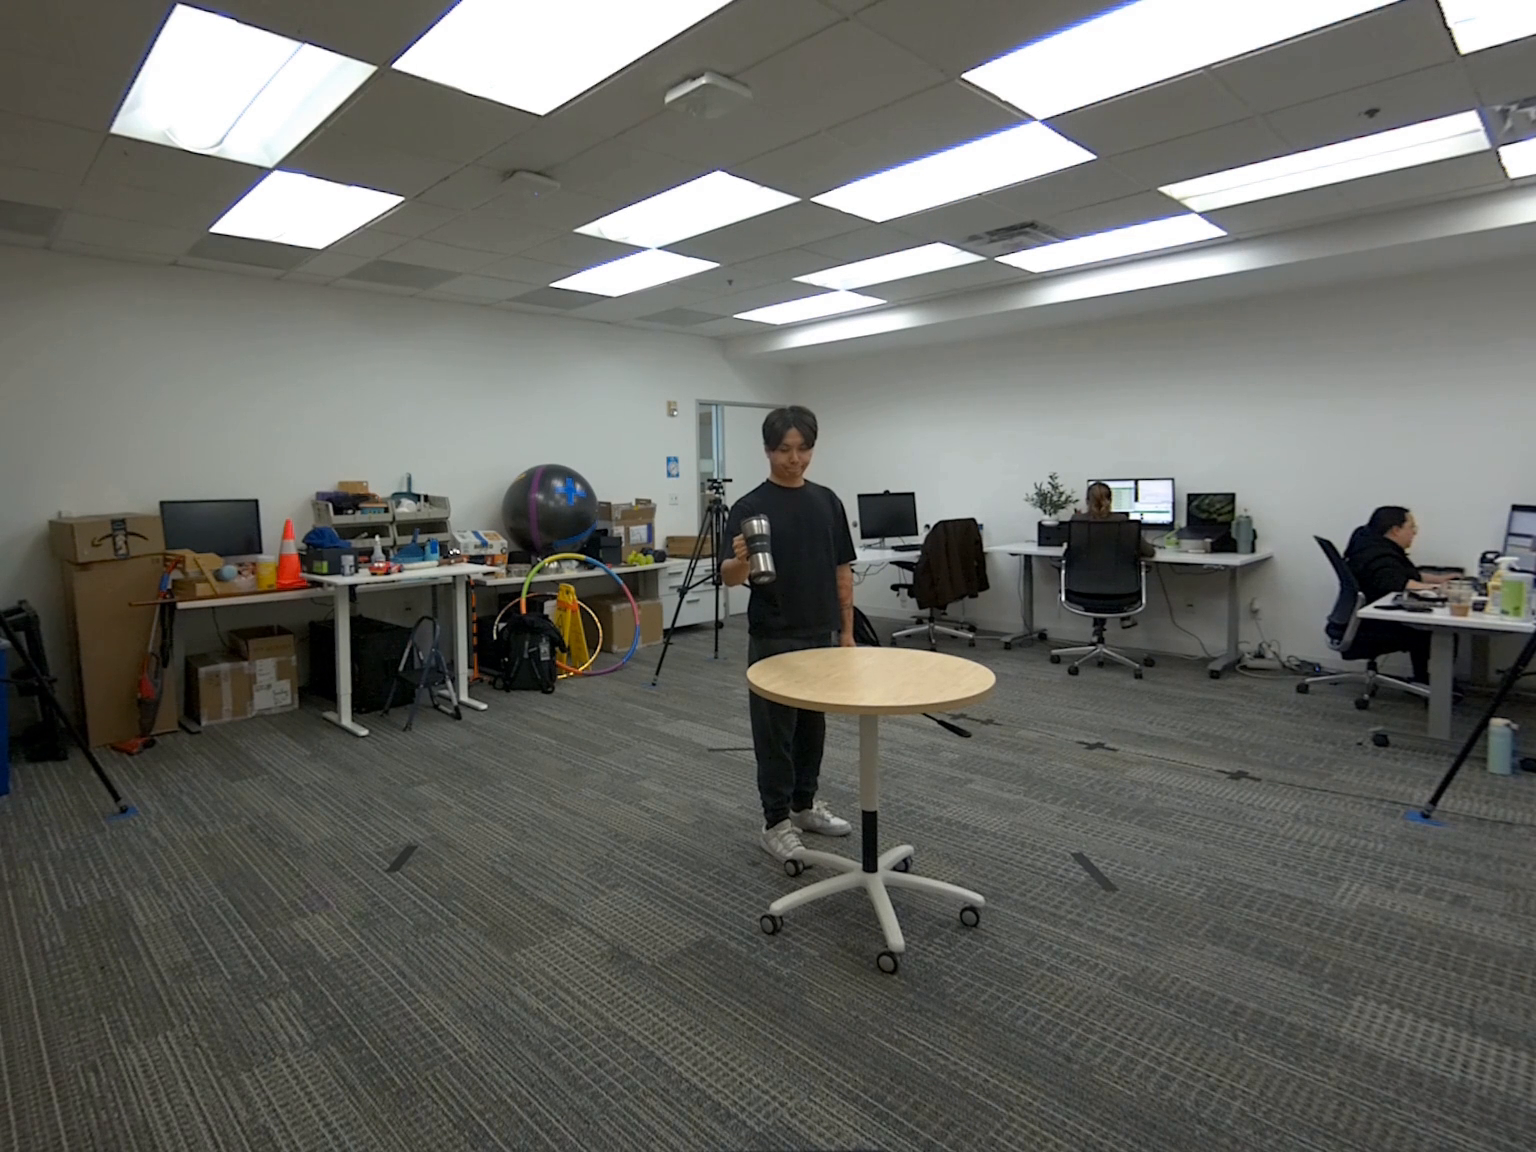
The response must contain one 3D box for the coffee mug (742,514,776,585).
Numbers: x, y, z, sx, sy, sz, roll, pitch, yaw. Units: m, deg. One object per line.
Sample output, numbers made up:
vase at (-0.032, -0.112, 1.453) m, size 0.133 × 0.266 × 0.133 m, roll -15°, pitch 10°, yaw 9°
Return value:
coffee mug at (-0.027, -0.075, 2.609) m, size 0.088 × 0.207 × 0.119 m, roll -14°, pitch -20°, yaw 3°
